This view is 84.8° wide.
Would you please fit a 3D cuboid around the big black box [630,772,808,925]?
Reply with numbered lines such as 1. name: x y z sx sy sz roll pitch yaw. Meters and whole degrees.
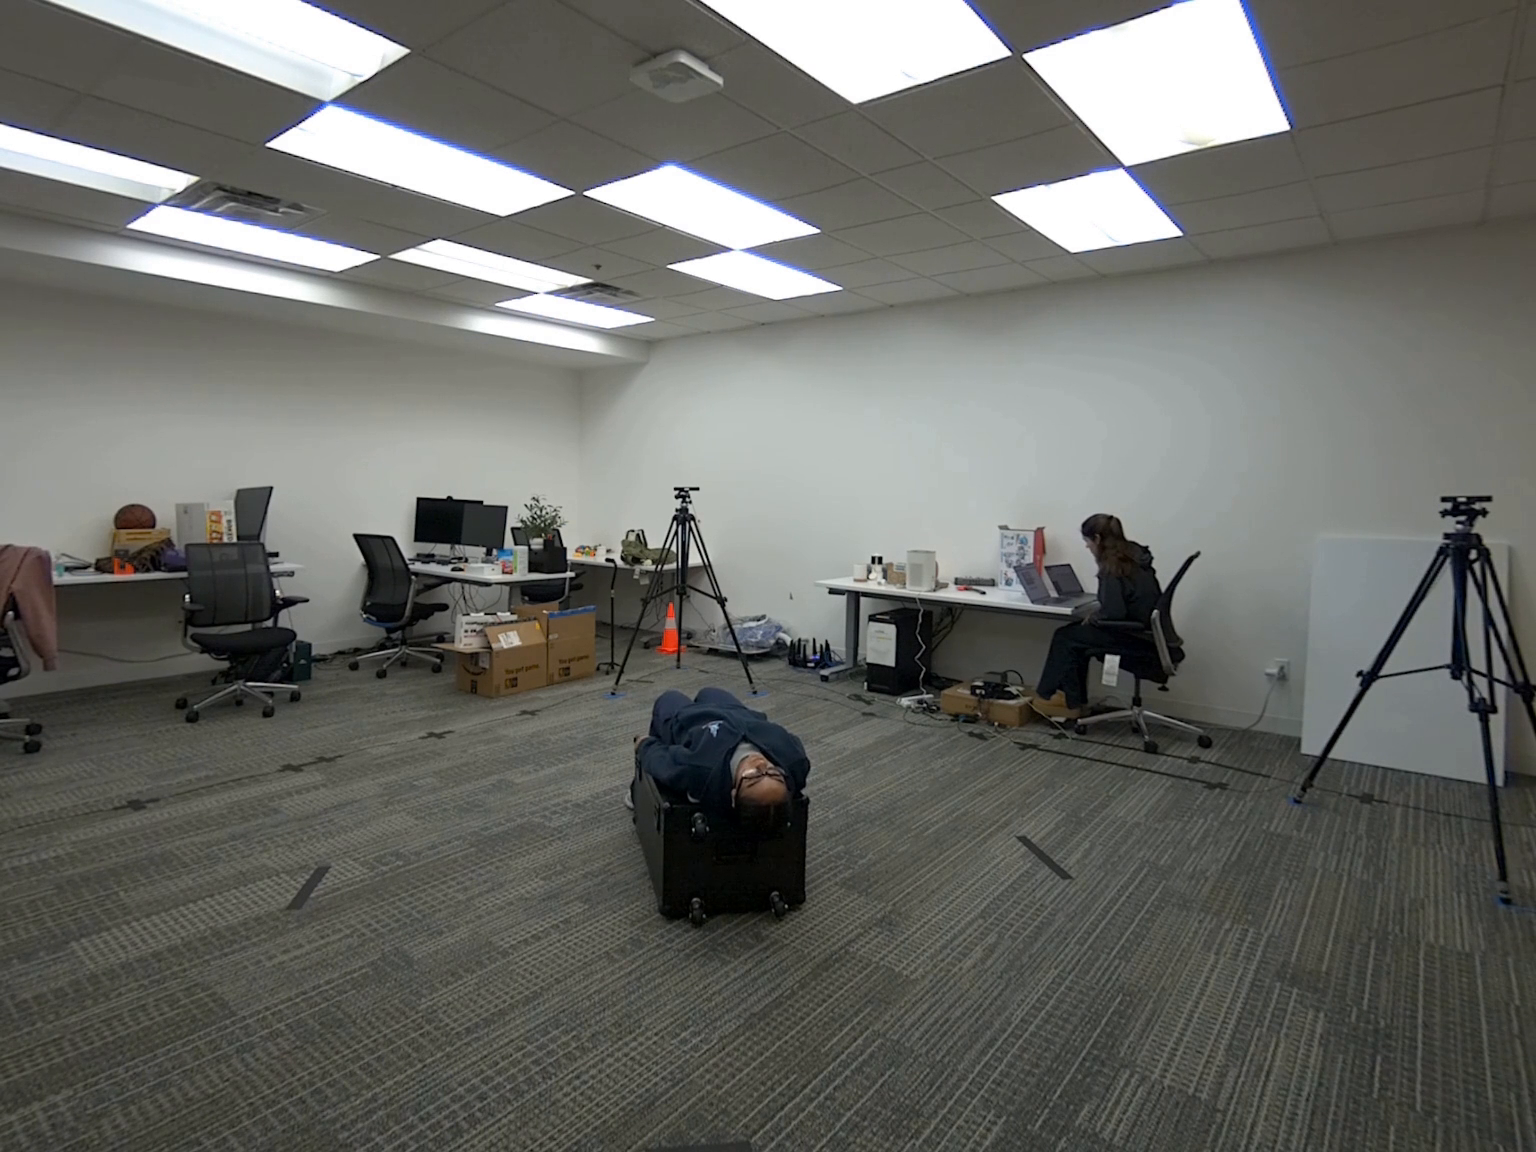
1. big black box: -0.209 0.881 3.092 0.513 0.395 0.878 1 5 -16
